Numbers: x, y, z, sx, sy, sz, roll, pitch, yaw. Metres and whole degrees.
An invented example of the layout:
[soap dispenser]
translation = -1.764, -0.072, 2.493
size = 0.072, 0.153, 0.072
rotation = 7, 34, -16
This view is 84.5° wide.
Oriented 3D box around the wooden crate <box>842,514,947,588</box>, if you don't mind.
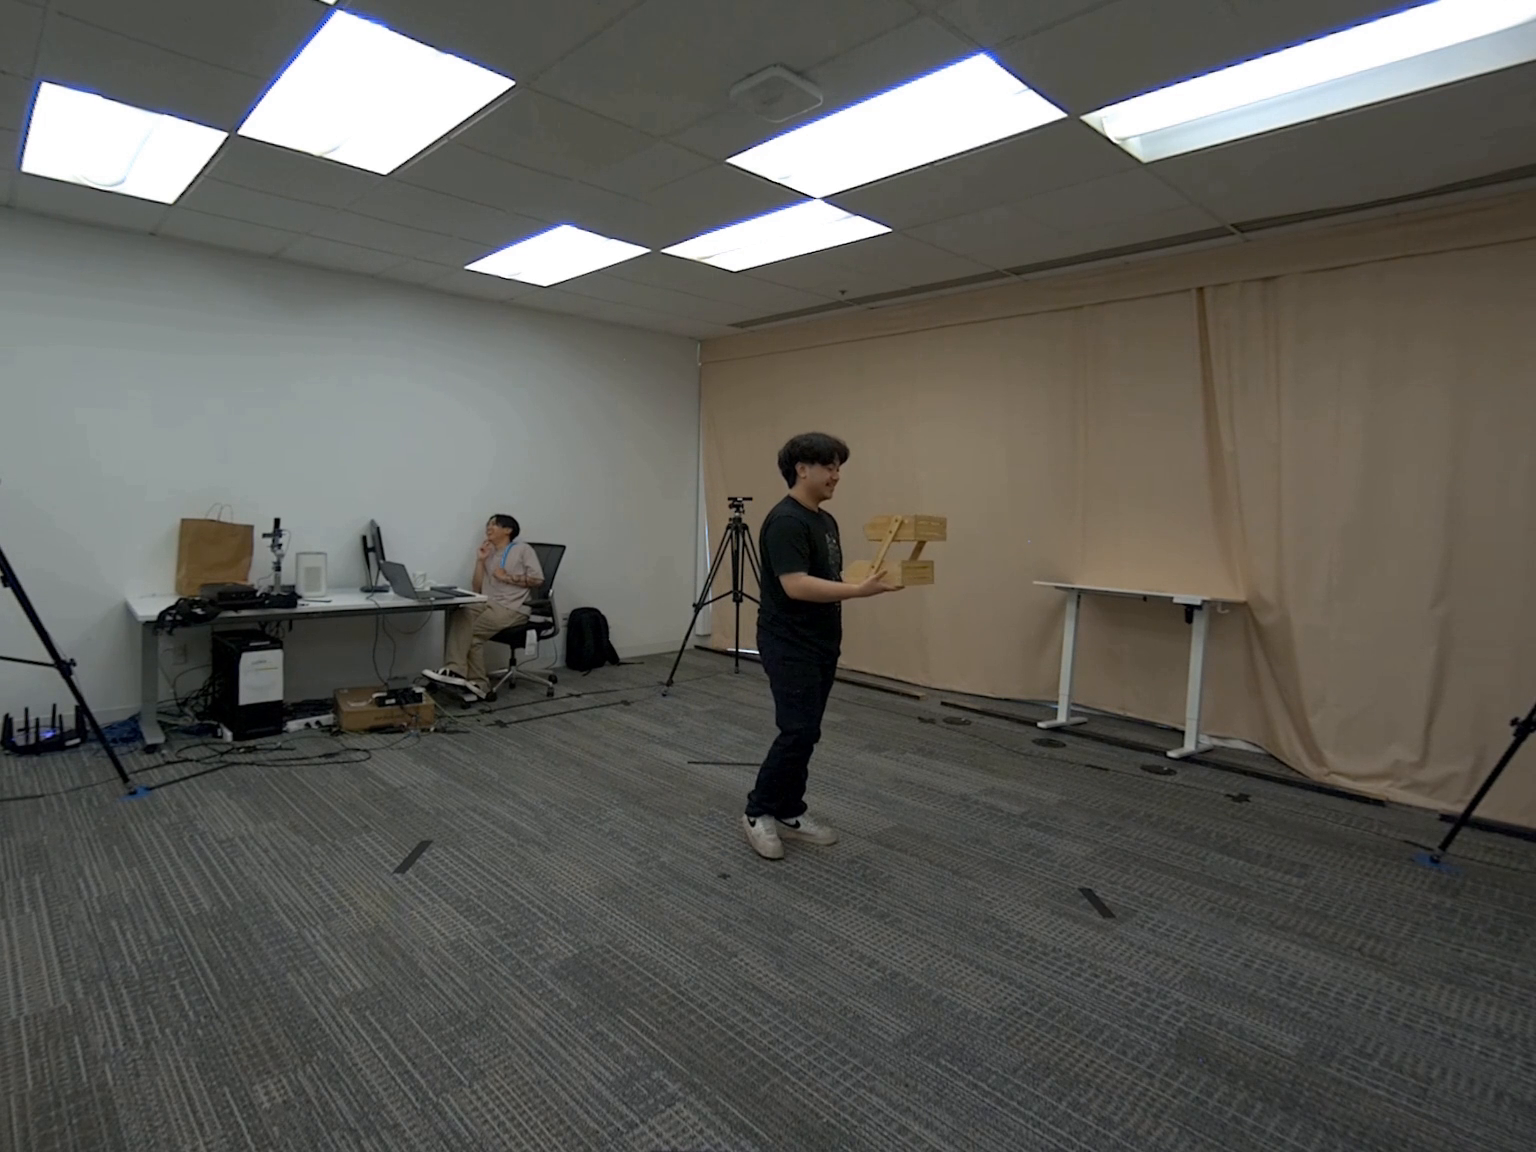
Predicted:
[wooden crate]
translation = 0.466, -0.101, 3.214
size = 0.309, 0.273, 0.317
rotation = 1, 1, 35
